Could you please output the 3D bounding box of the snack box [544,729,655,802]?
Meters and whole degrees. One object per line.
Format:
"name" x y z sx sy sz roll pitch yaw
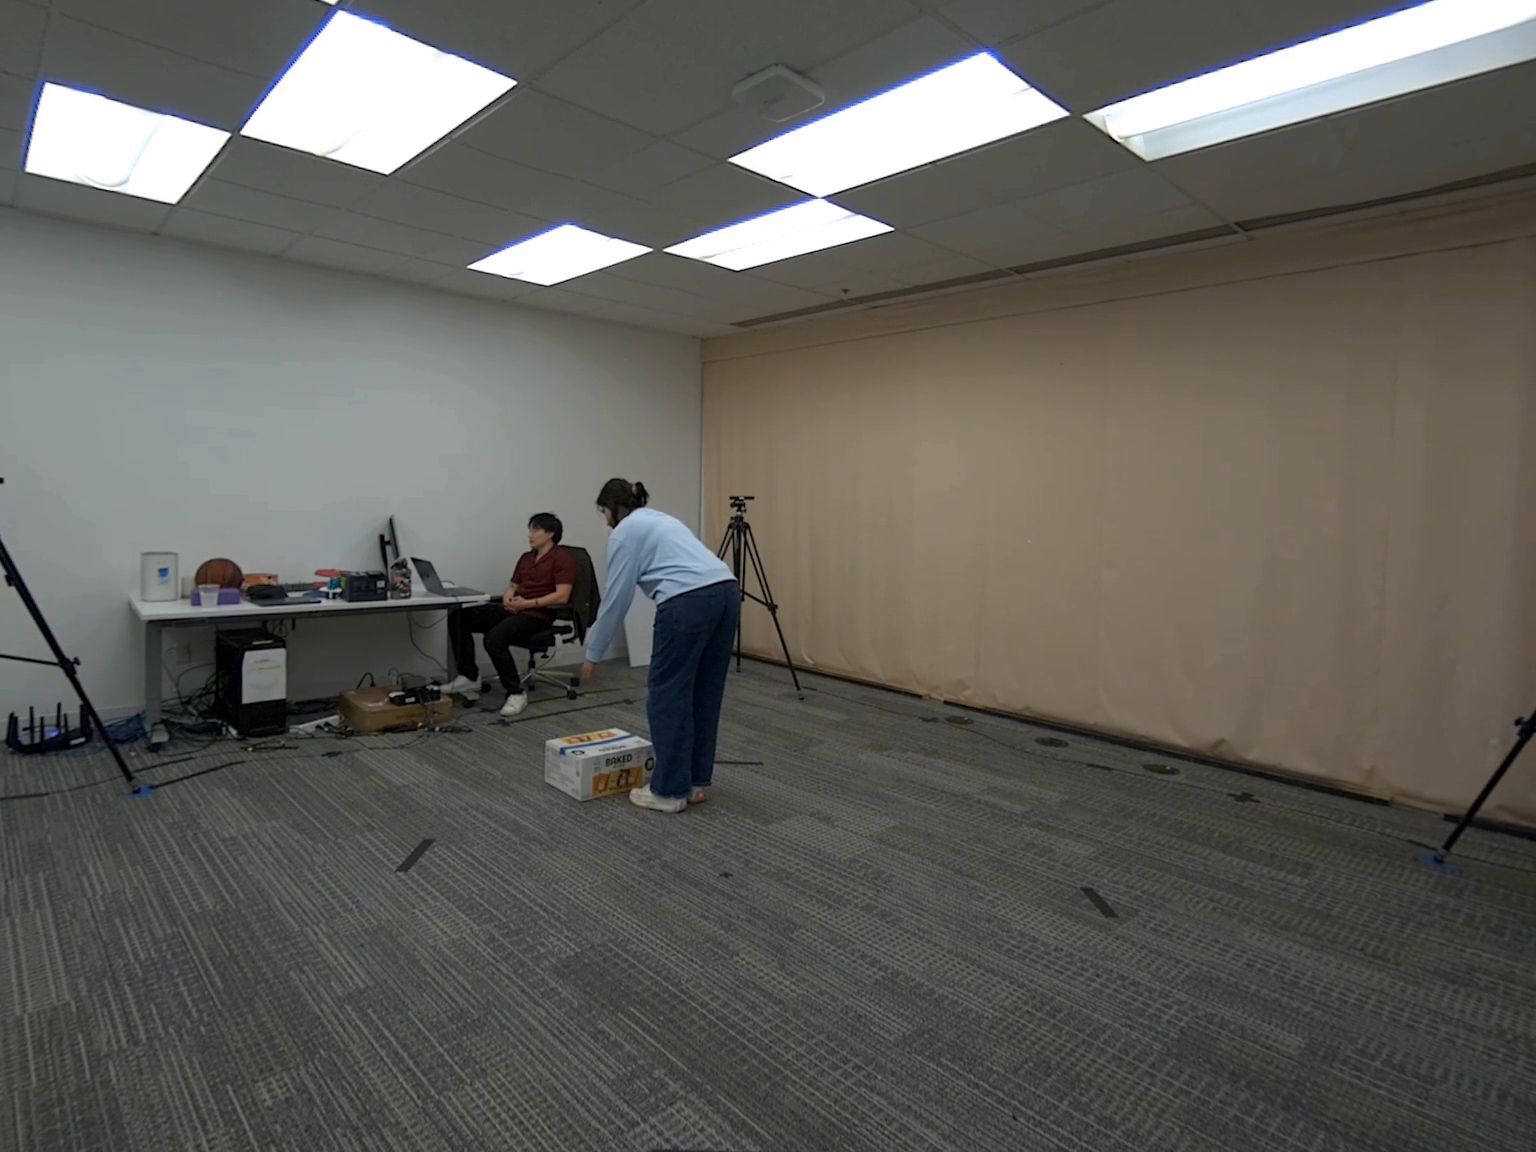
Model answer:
"snack box" -0.819 0.900 4.062 0.396 0.205 0.349 -2 5 -42
